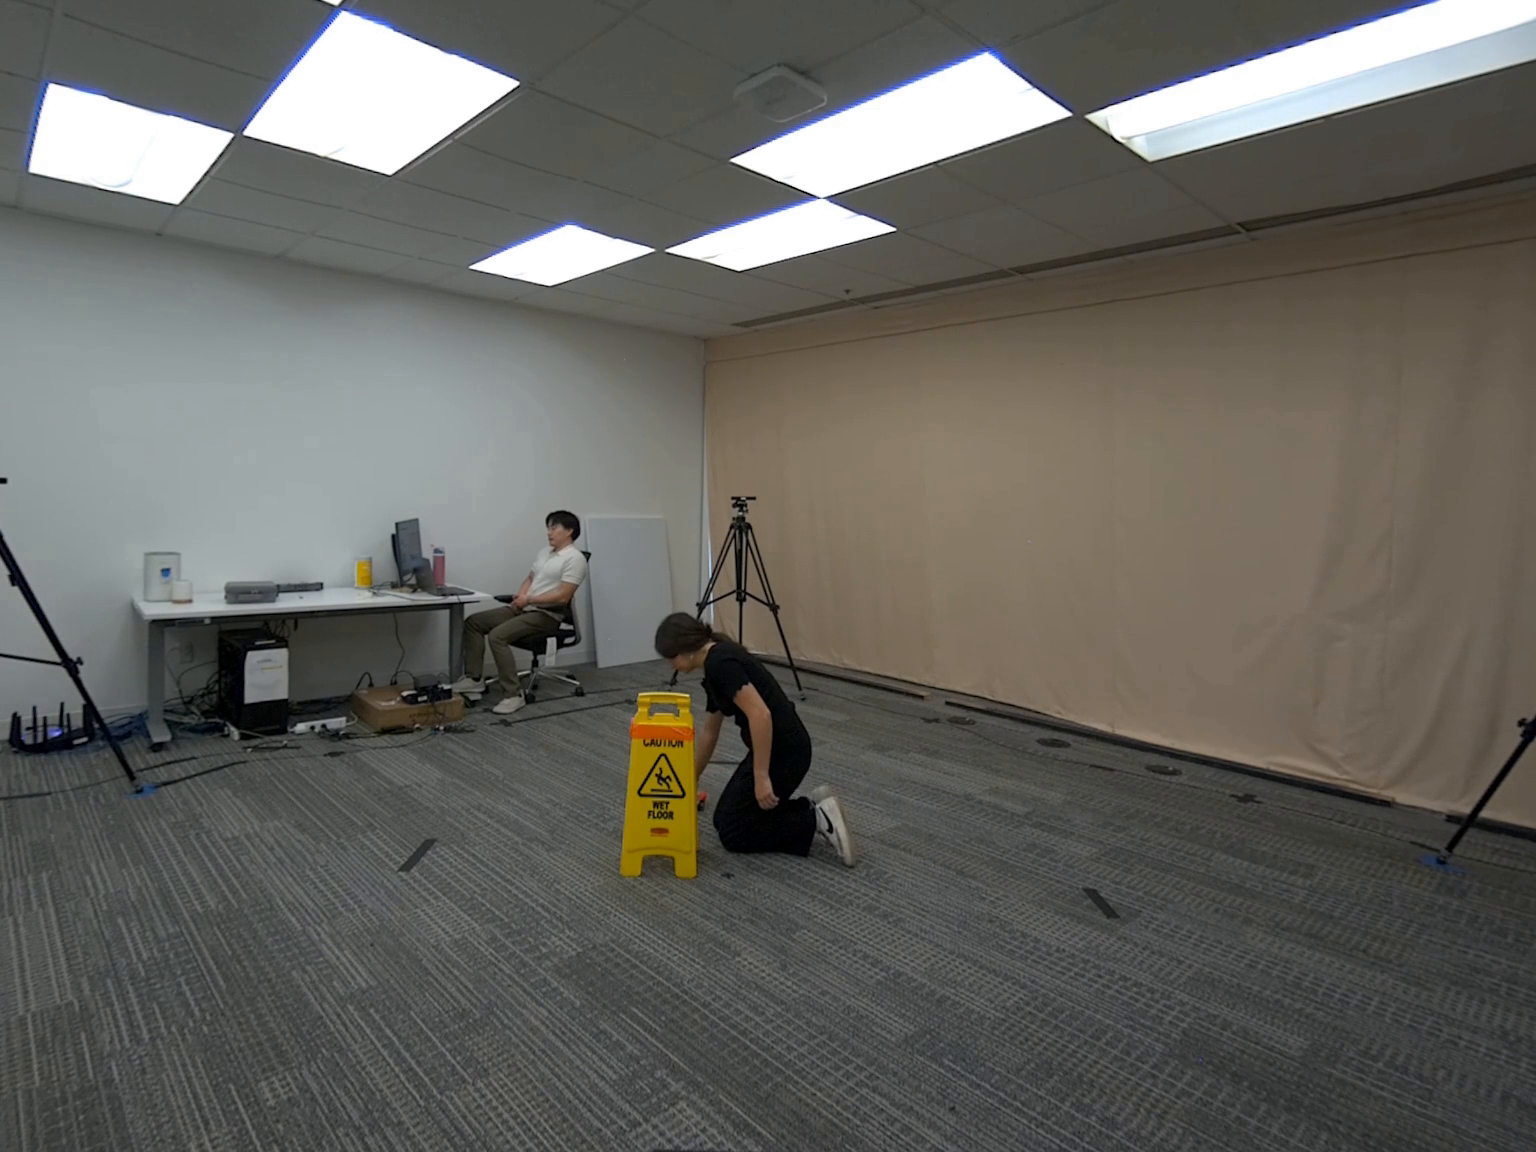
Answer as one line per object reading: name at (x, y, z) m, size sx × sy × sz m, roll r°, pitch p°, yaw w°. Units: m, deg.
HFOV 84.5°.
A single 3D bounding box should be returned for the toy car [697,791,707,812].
toy car at (-0.379, 1.020, 3.733) m, size 0.133 × 0.082 × 0.251 m, roll 3°, pitch 15°, yaw 30°
